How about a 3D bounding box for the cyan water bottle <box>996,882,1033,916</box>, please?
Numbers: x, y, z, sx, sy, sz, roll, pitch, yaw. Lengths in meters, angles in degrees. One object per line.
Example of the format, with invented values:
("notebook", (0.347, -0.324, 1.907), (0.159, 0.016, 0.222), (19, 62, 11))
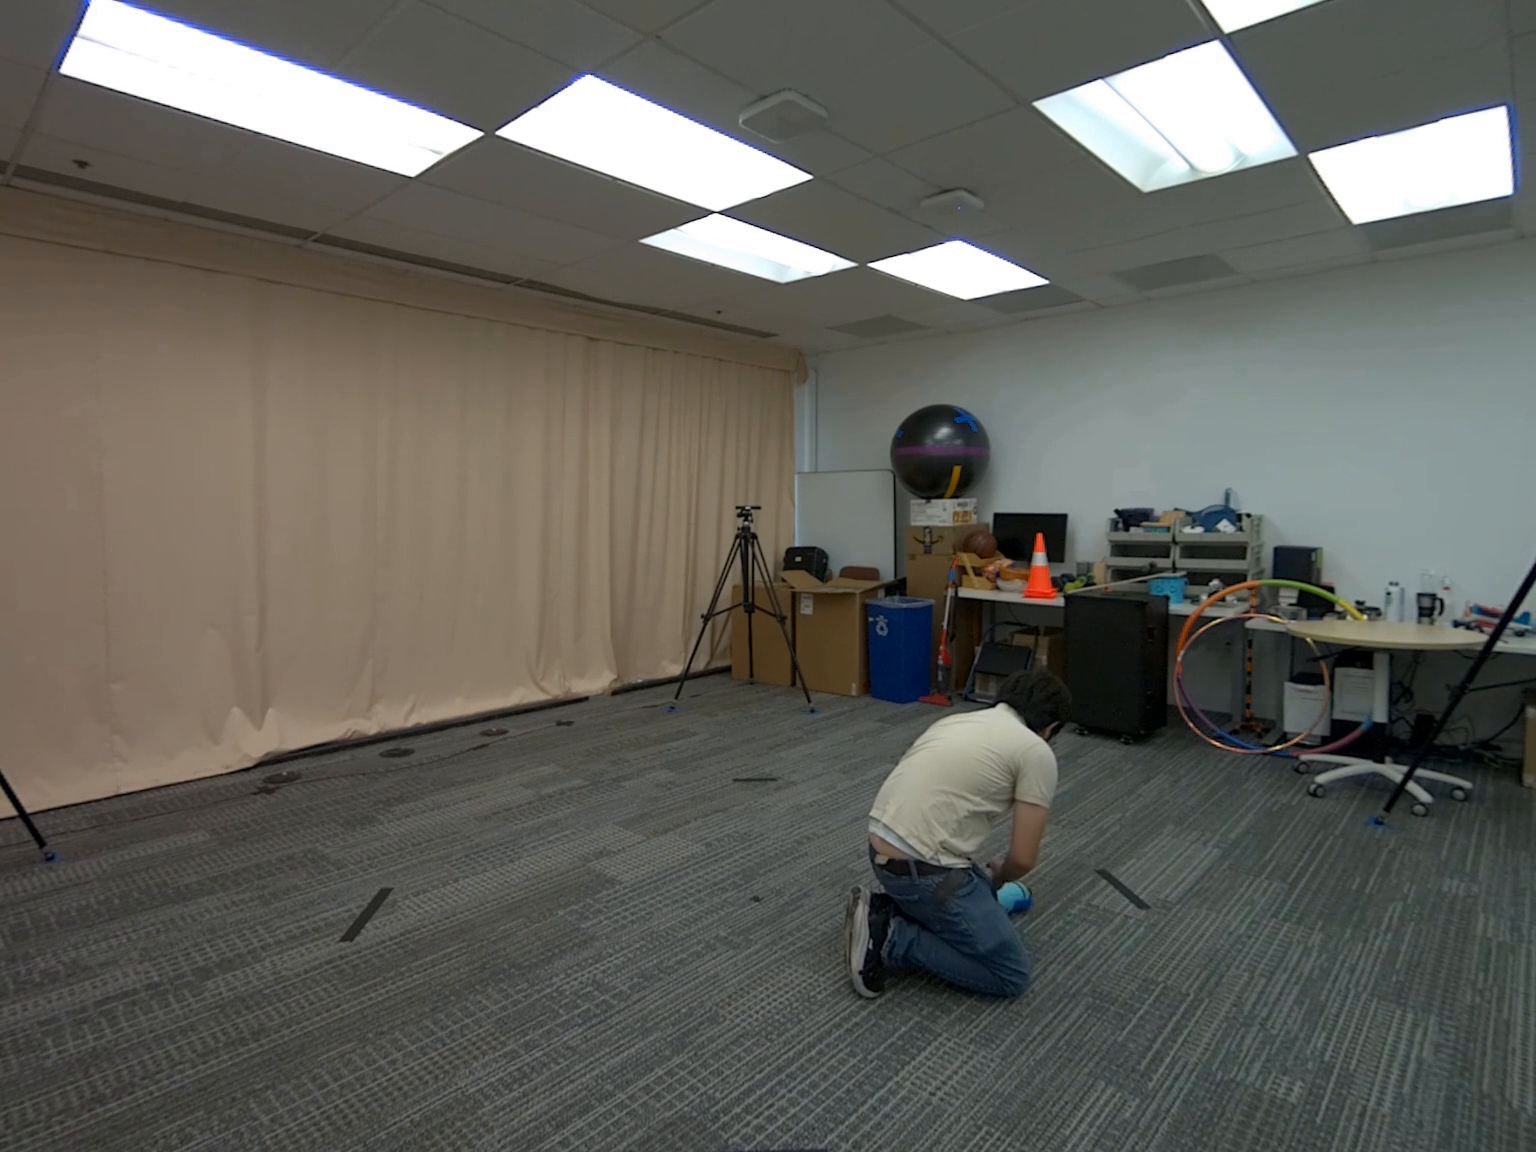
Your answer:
("cyan water bottle", (0.792, 1.110, 2.863), (0.276, 0.092, 0.095), (1, 3, -27))
